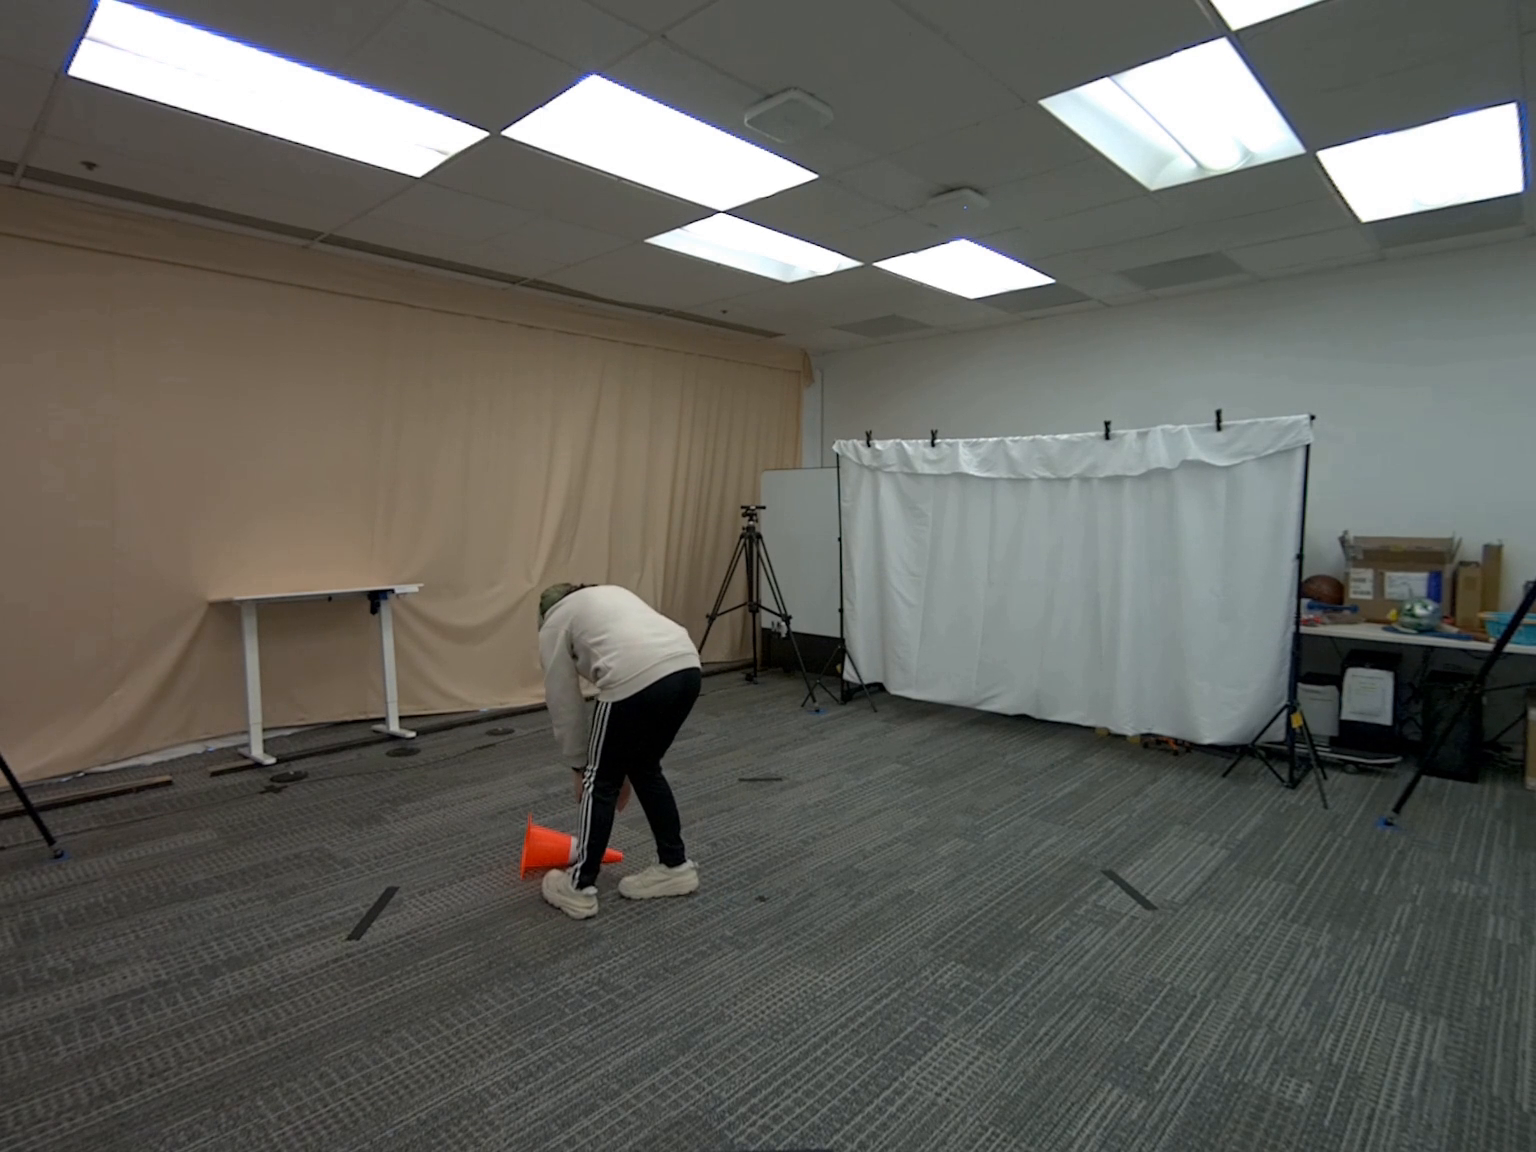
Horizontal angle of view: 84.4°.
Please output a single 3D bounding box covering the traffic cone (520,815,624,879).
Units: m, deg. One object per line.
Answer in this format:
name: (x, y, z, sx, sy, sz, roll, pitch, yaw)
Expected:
traffic cone: (-0.756, 1.078, 3.284, 0.378, 0.203, 0.208, 11, 4, -14)
